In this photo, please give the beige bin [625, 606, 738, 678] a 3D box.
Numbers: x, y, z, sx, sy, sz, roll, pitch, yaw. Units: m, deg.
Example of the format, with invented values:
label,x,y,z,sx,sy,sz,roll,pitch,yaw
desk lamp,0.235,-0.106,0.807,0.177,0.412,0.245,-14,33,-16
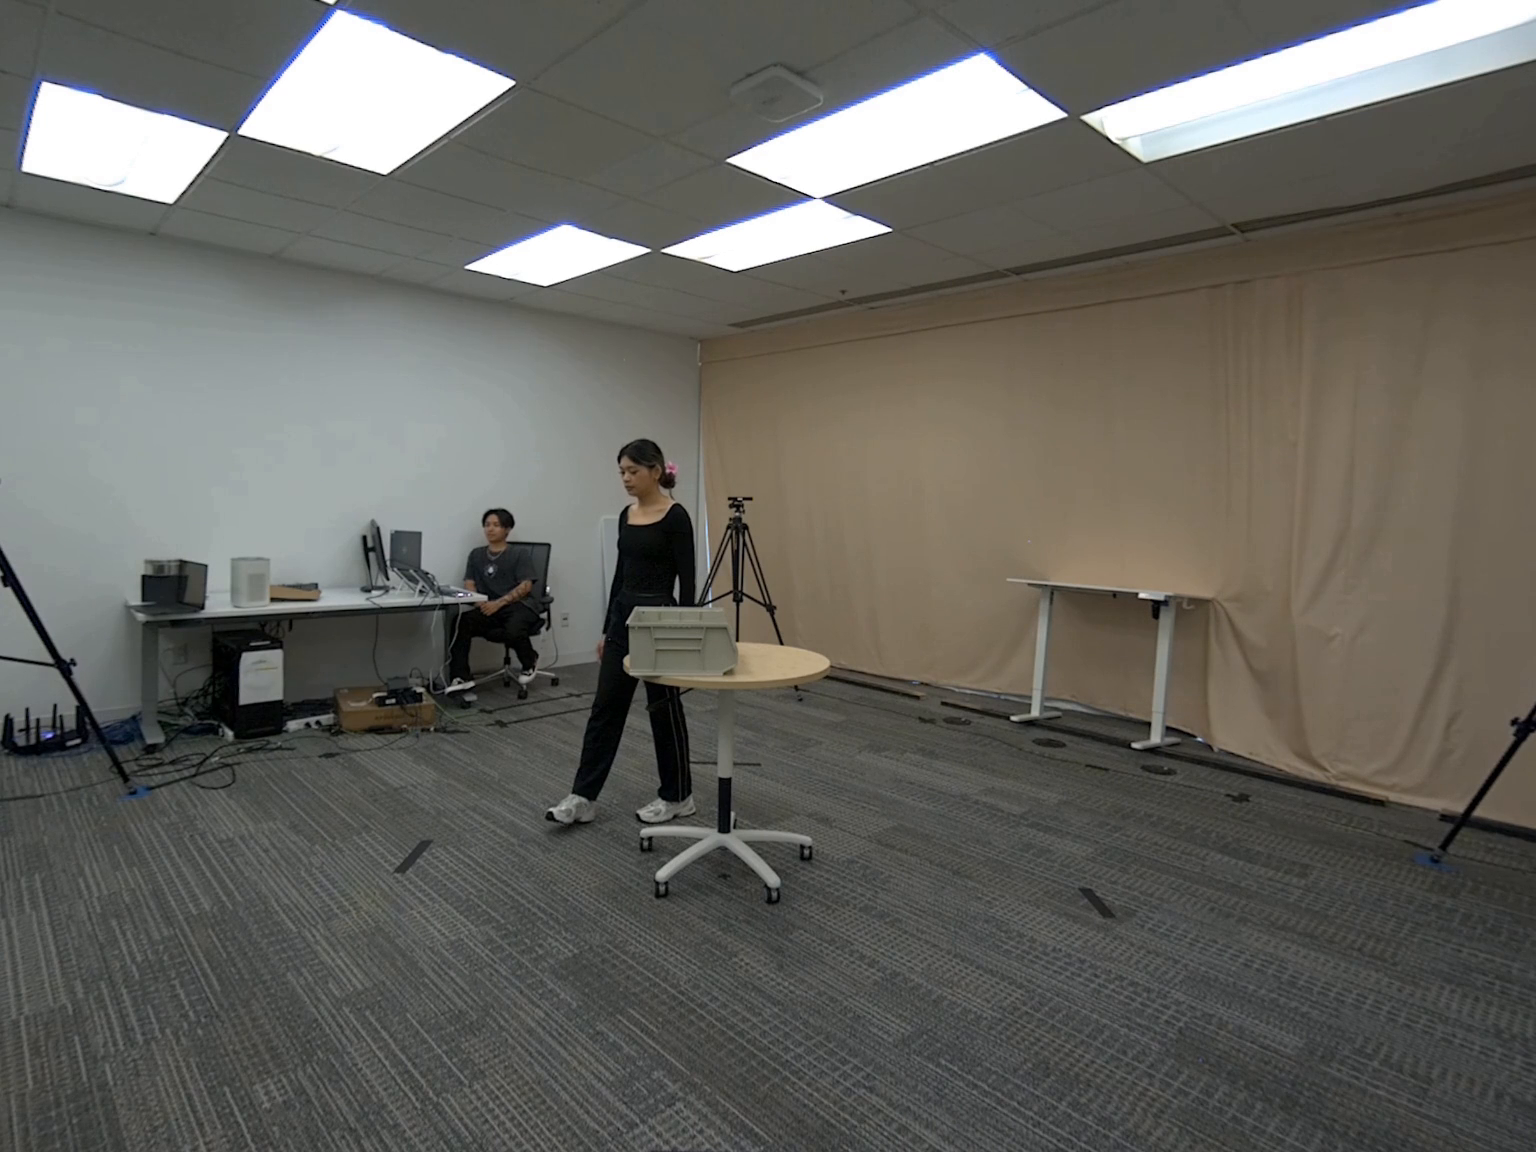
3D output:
label,x,y,z,sx,sy,sz,roll,pitch,yaw
beige bin,-0.307,0.228,3.026,0.376,0.188,0.425,0,4,-5
